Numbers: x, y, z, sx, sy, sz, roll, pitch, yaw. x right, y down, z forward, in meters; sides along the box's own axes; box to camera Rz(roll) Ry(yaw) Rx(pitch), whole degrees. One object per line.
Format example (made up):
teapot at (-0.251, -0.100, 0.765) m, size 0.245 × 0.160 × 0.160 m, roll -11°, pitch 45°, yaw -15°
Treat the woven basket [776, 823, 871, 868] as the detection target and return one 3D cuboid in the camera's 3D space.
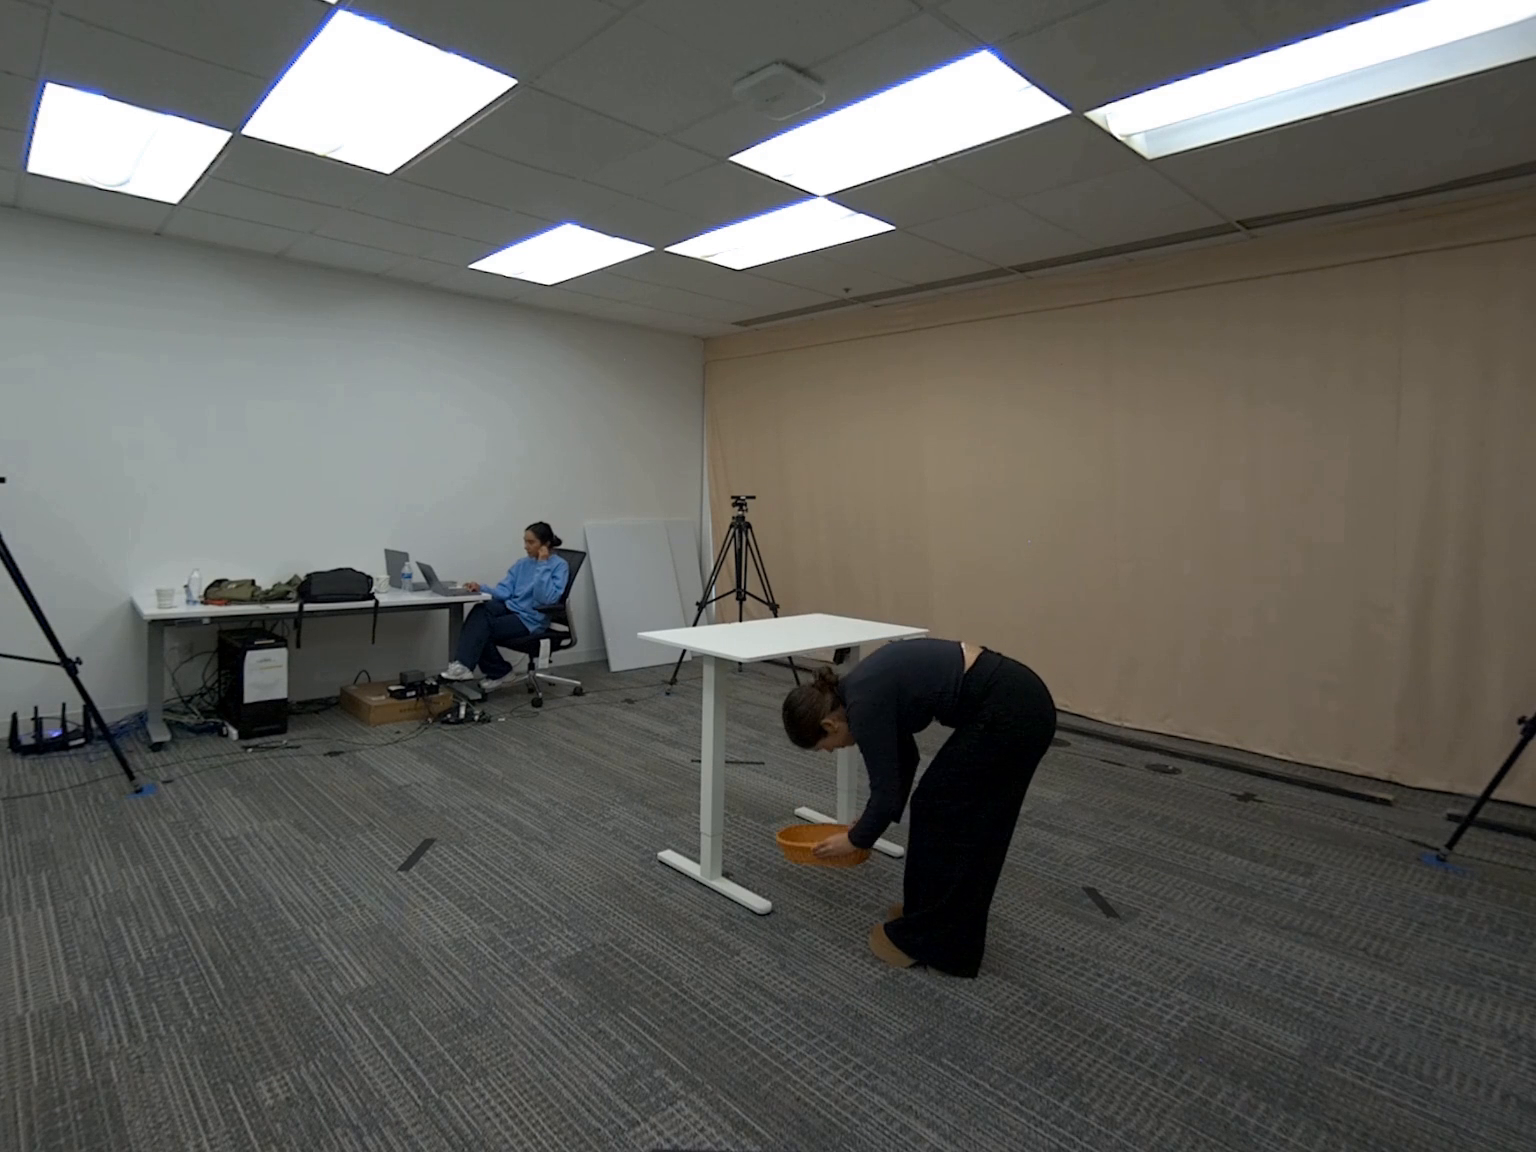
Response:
woven basket at (0.192, 0.870, 2.740) m, size 0.356 × 0.073 × 0.248 m, roll -5°, pitch 0°, yaw 24°
